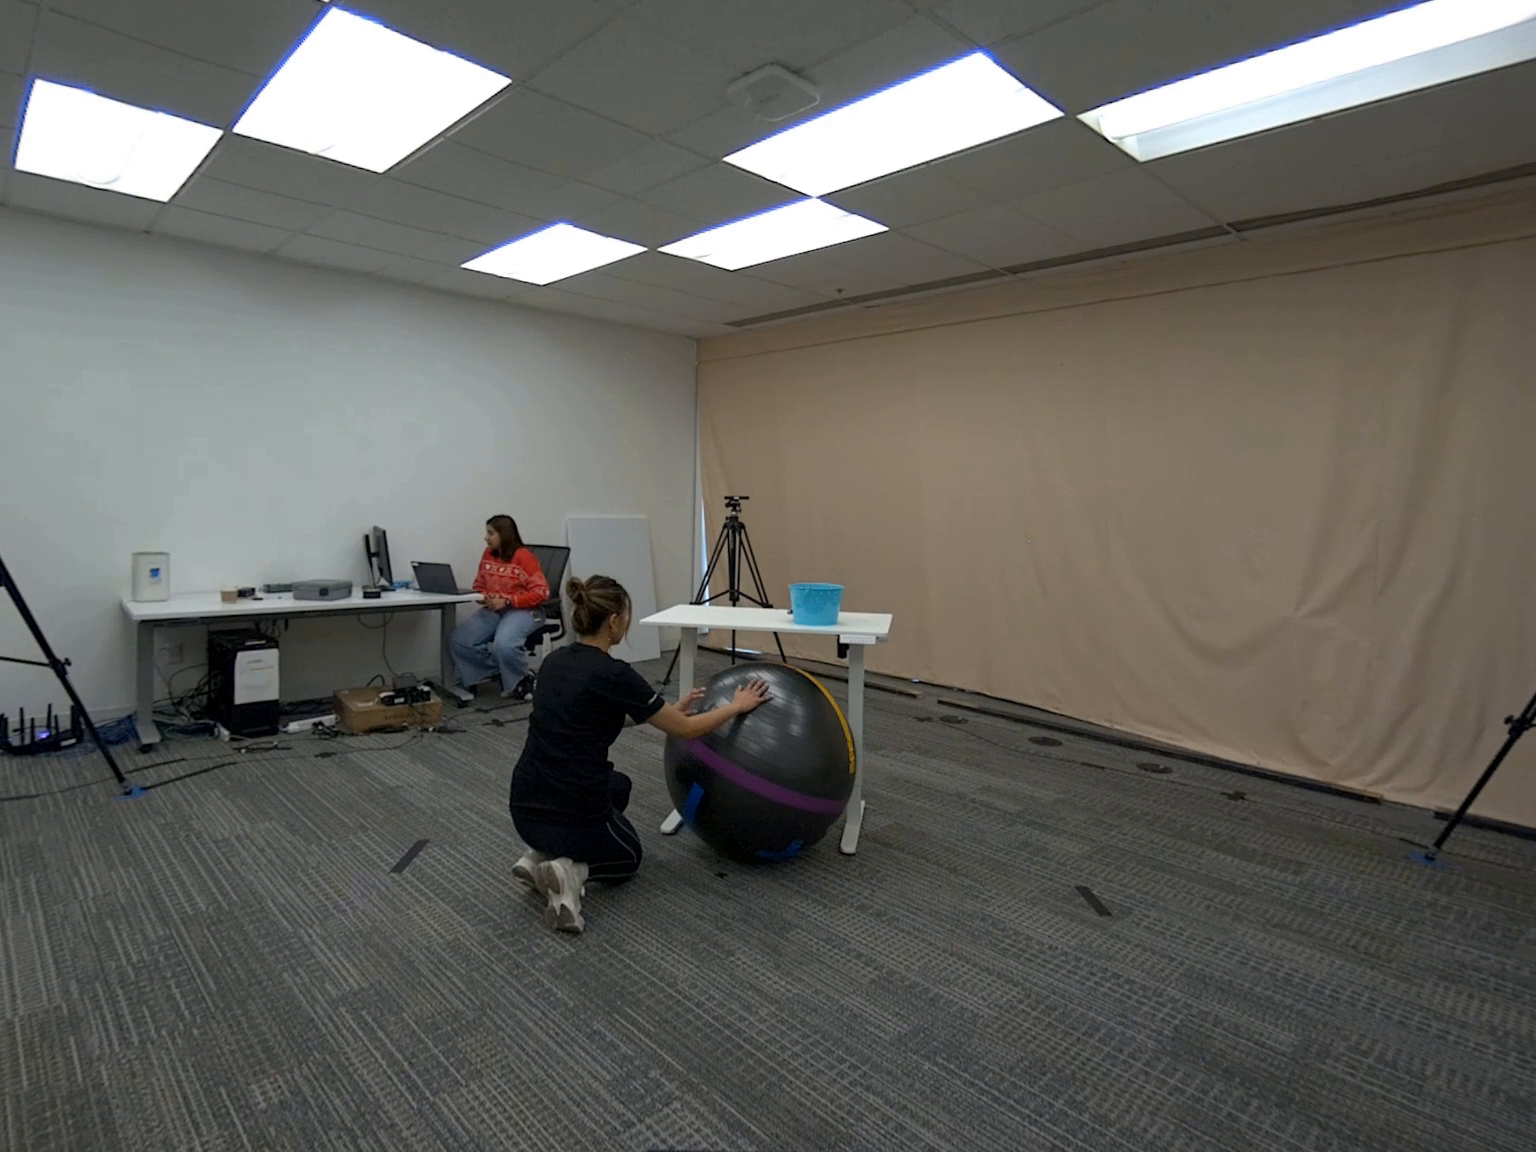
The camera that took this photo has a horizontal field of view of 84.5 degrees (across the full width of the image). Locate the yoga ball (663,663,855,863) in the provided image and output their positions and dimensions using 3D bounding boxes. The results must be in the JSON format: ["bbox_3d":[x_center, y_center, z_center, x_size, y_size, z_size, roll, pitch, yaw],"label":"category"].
[{"bbox_3d":[-0.035,0.724,3.314,0.757,0.756,0.761,1,4,-1],"label":"yoga ball"}]
